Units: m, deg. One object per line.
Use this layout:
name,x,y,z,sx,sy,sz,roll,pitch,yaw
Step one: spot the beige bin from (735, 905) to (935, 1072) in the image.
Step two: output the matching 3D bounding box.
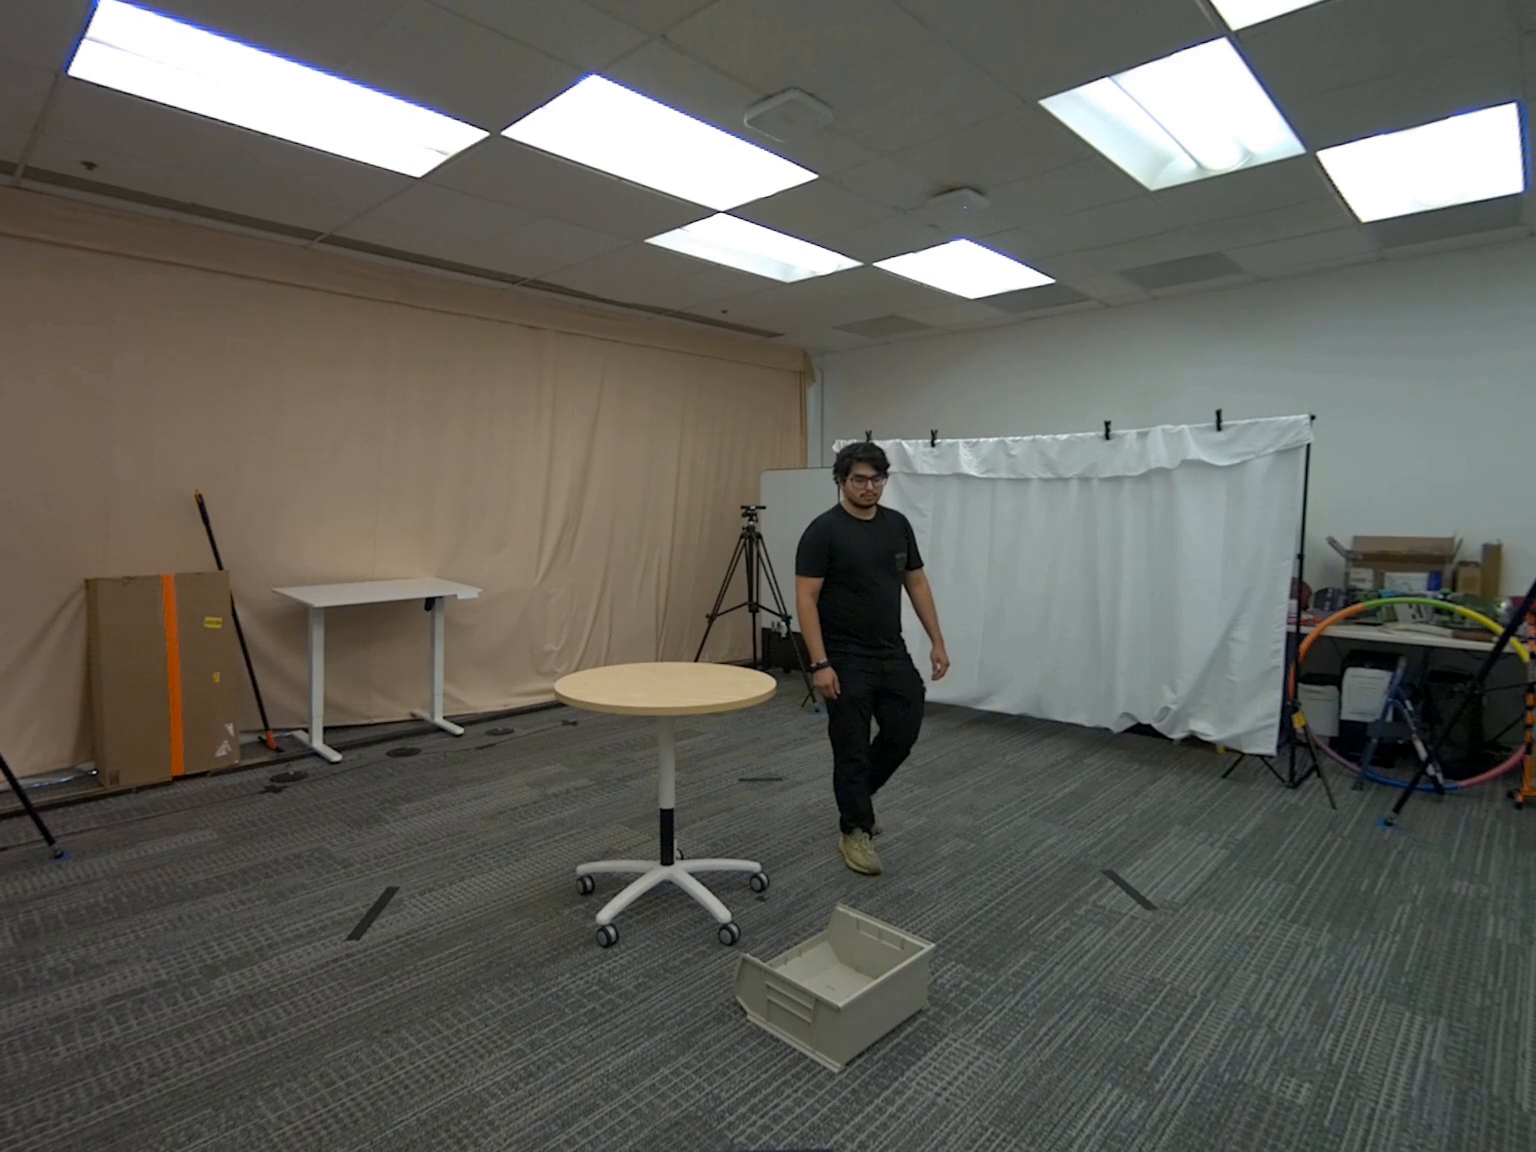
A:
beige bin,0.185,1.111,2.322,0.390,0.188,0.409,6,7,45
